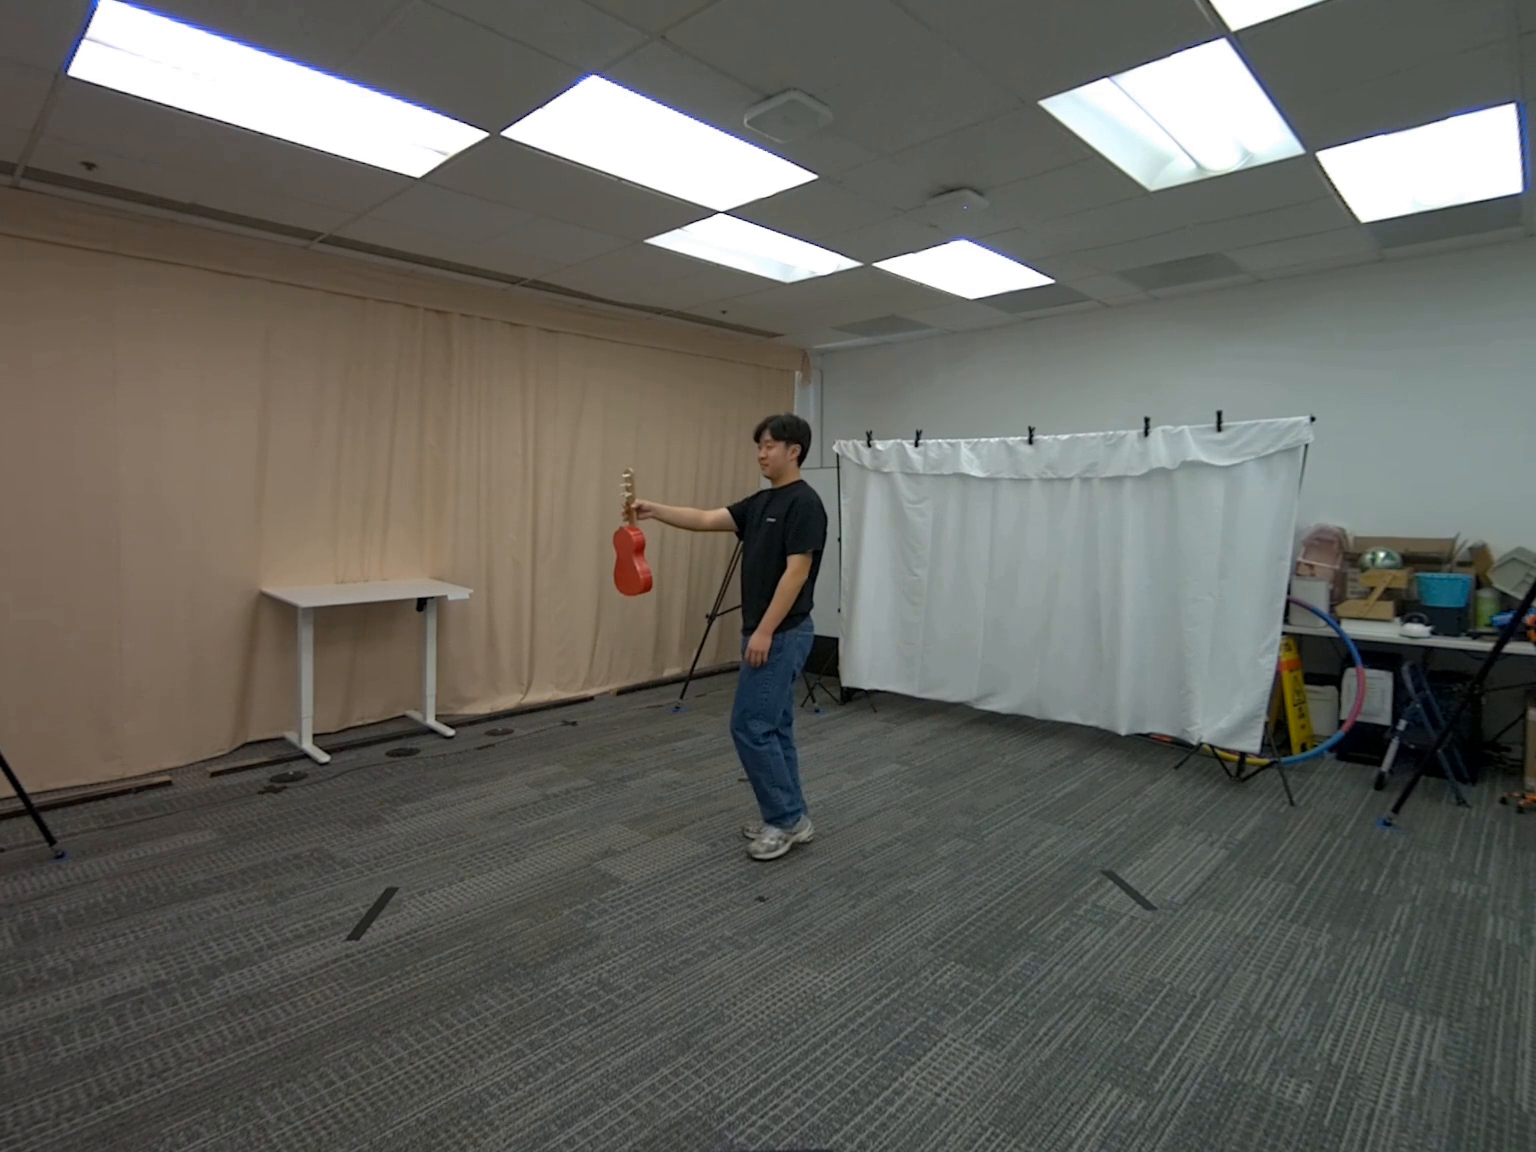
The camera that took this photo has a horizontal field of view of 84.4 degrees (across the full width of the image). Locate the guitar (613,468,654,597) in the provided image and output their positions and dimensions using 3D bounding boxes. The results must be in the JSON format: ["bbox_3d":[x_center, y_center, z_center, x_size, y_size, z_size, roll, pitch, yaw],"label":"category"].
[{"bbox_3d":[-0.566,-0.166,3.371,0.069,0.498,0.198,-10,-1,-39],"label":"guitar"}]
